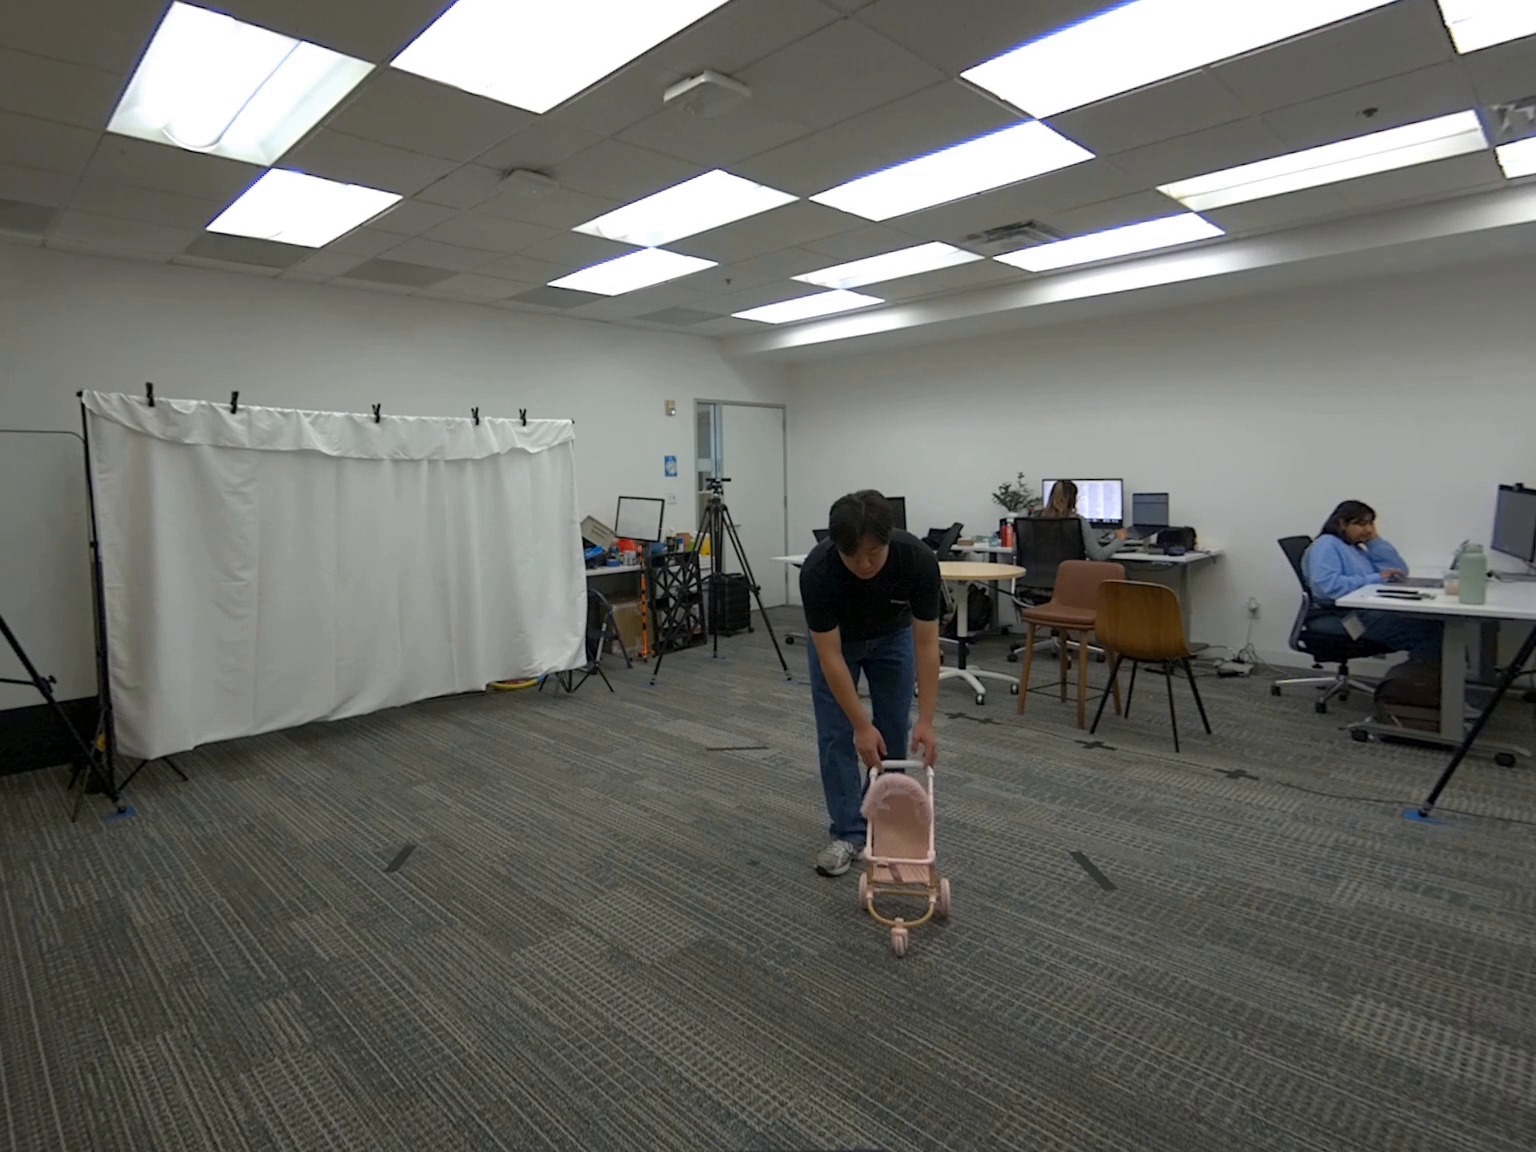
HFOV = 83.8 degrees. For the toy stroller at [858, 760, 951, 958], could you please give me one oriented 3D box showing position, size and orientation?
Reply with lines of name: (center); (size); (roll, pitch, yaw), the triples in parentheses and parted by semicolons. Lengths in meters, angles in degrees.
toy stroller: (0.418, 0.865, 2.665); (0.286, 0.540, 0.332); (-3, -11, 18)
